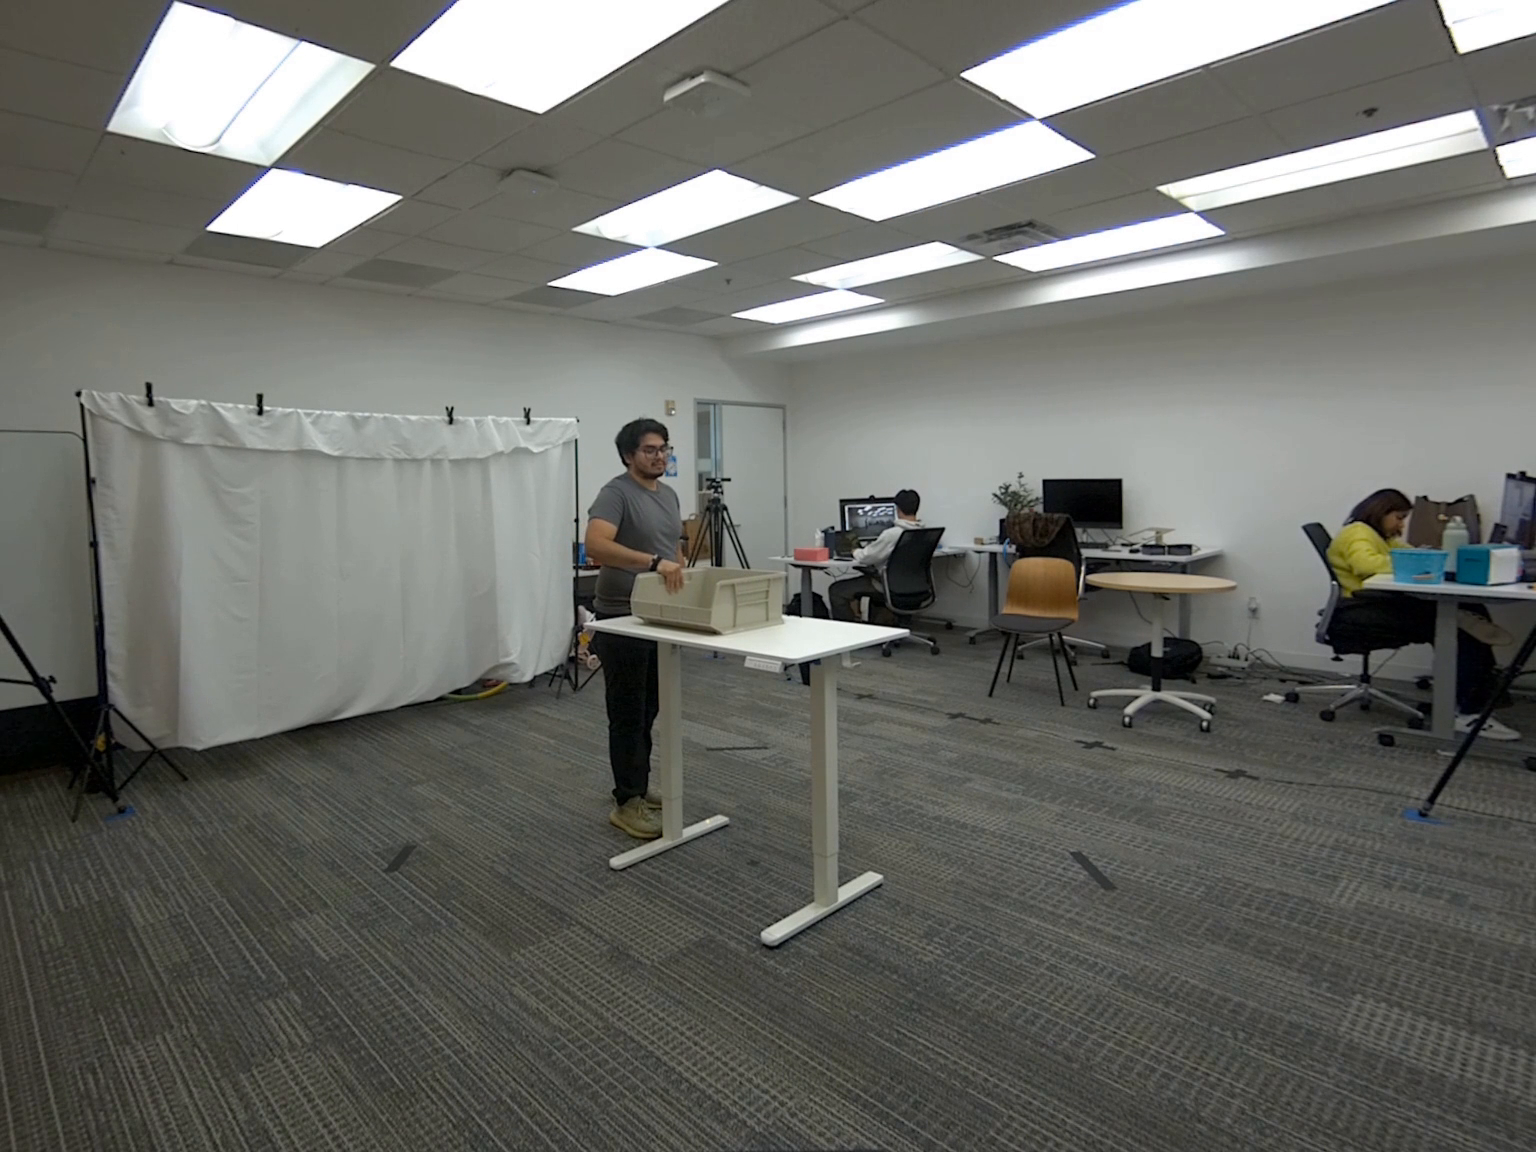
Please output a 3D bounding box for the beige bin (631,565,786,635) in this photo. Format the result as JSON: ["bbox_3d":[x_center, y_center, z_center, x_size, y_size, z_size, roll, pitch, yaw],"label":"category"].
[{"bbox_3d":[-0.208,0.081,3.027,0.435,0.188,0.367,4,6,44],"label":"beige bin"}]
